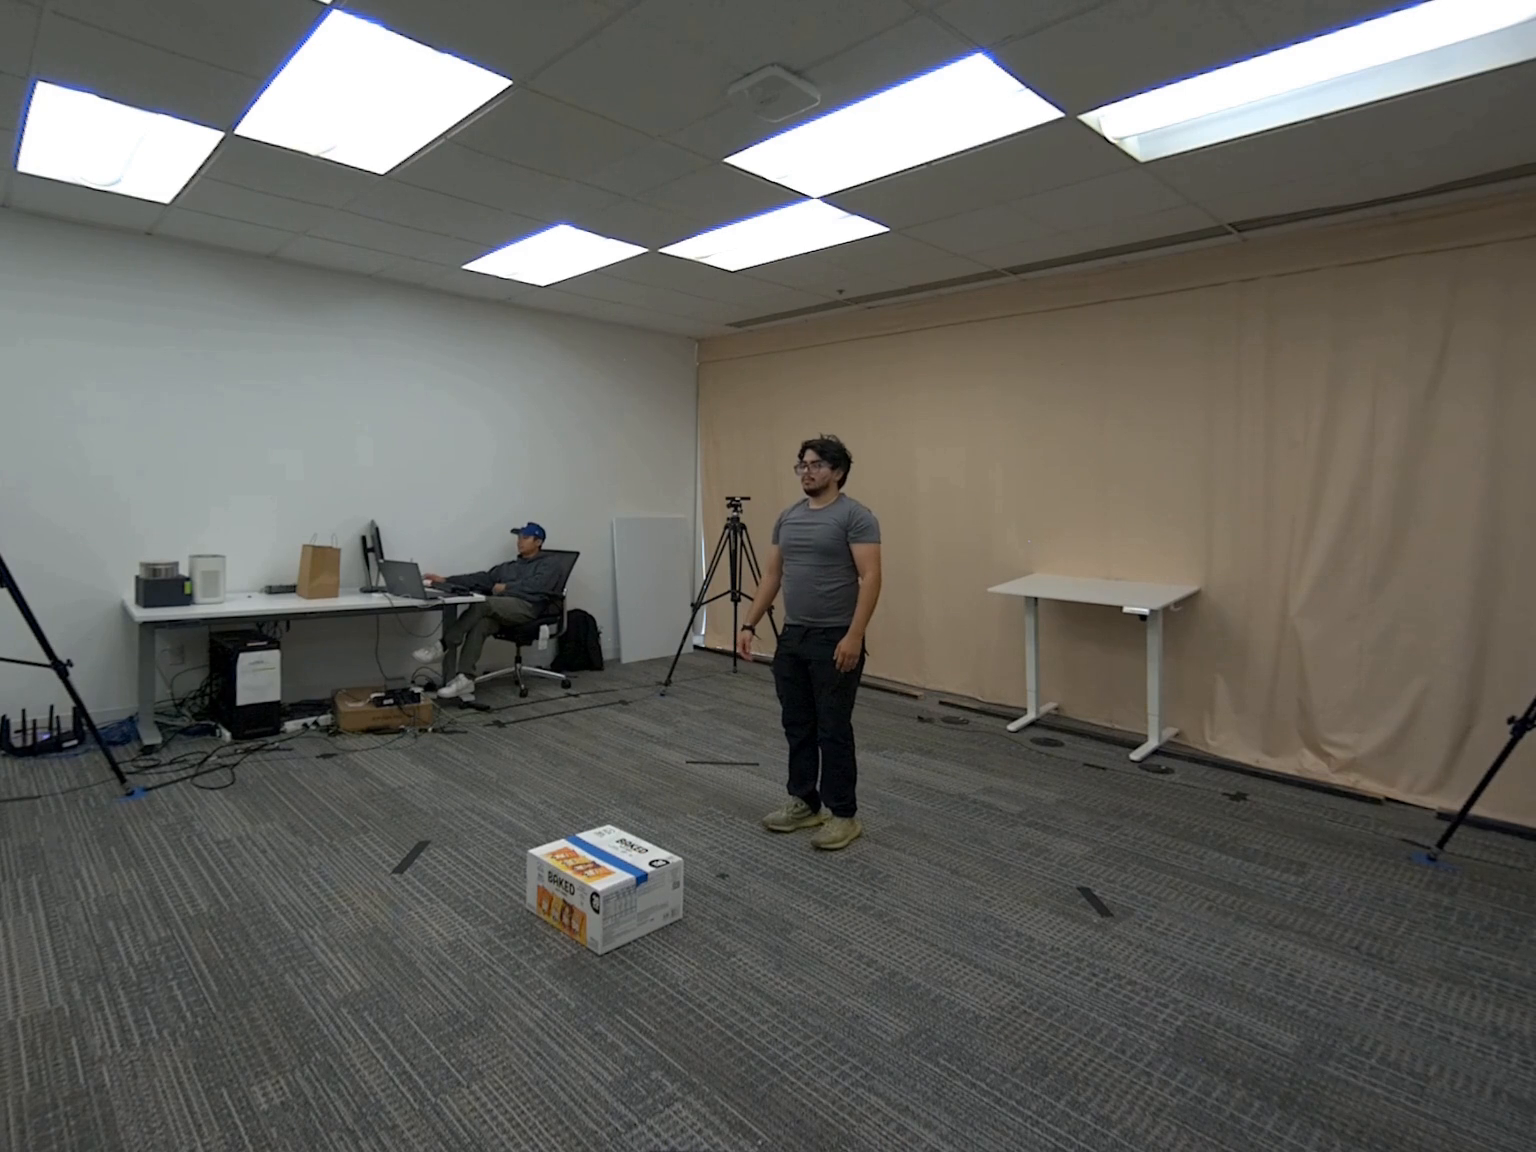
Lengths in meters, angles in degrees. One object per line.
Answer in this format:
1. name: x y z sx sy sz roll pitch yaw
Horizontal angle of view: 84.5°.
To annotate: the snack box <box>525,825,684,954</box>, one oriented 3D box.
1. snack box: -0.549 1.027 2.785 0.415 0.205 0.333 5 6 43
